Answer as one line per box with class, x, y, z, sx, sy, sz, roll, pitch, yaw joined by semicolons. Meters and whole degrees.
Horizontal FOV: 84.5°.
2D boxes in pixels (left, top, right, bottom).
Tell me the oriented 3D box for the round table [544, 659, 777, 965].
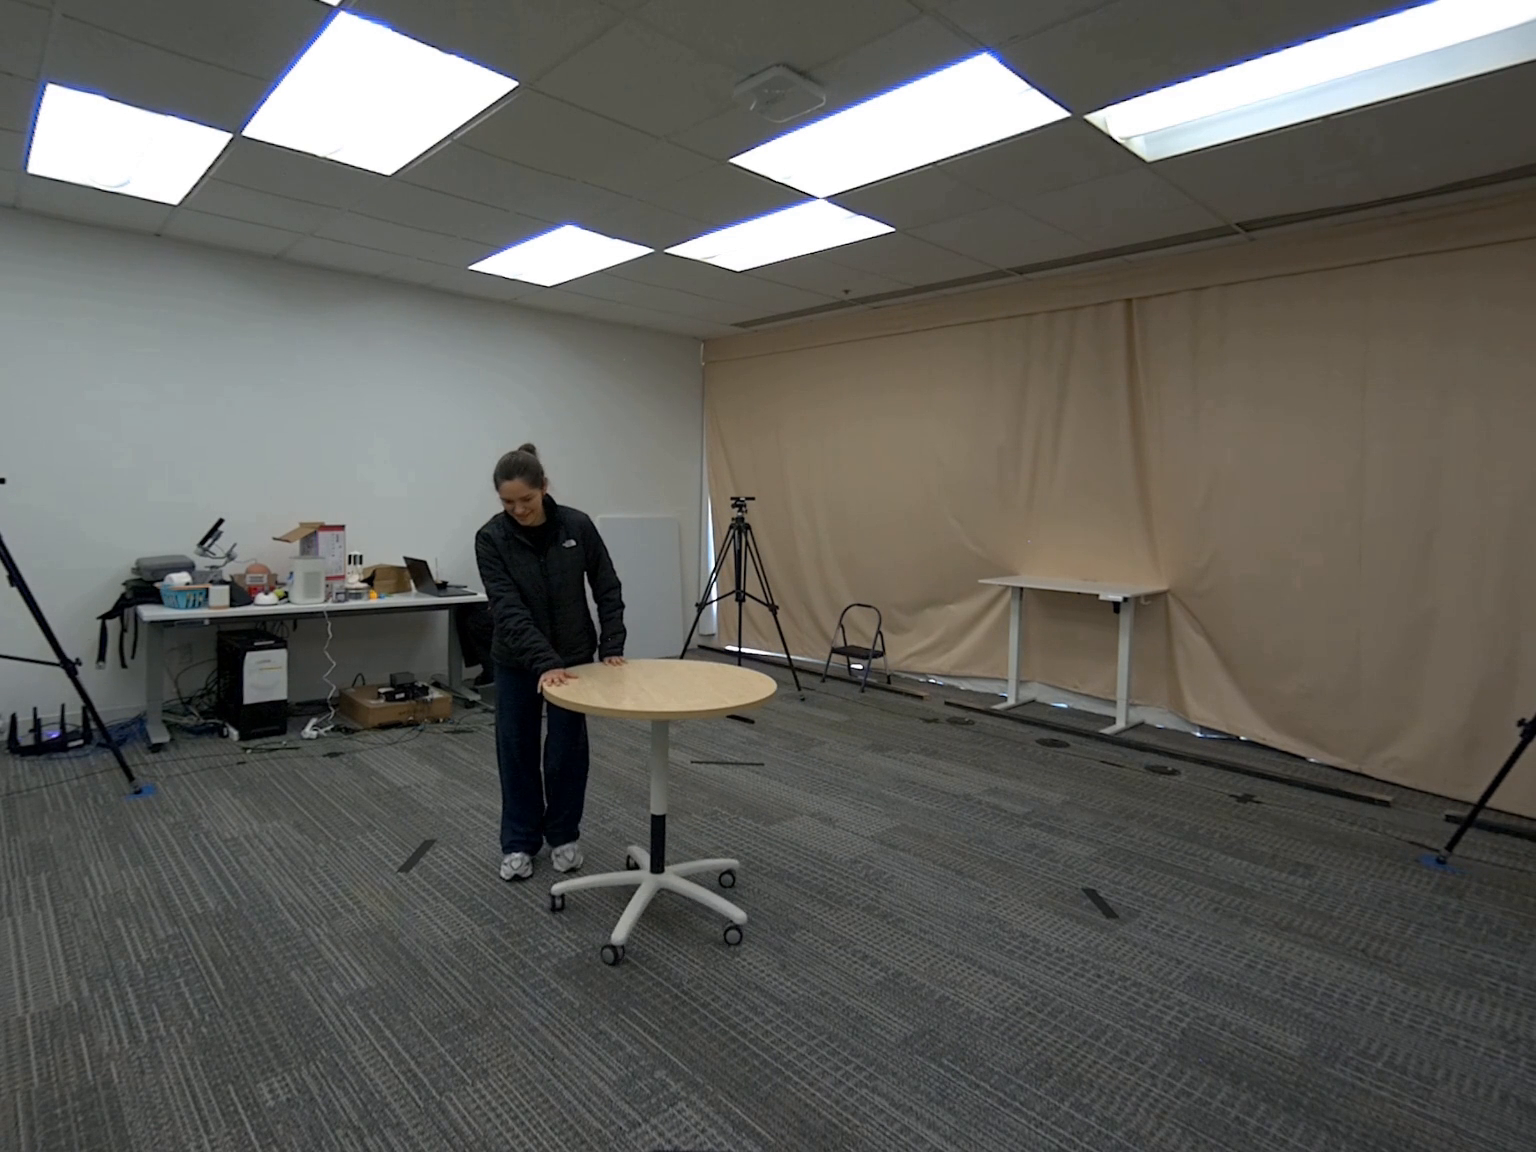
round table;-0.377;0.737;2.786;0.784;0.784;0.788;2;4;-2
